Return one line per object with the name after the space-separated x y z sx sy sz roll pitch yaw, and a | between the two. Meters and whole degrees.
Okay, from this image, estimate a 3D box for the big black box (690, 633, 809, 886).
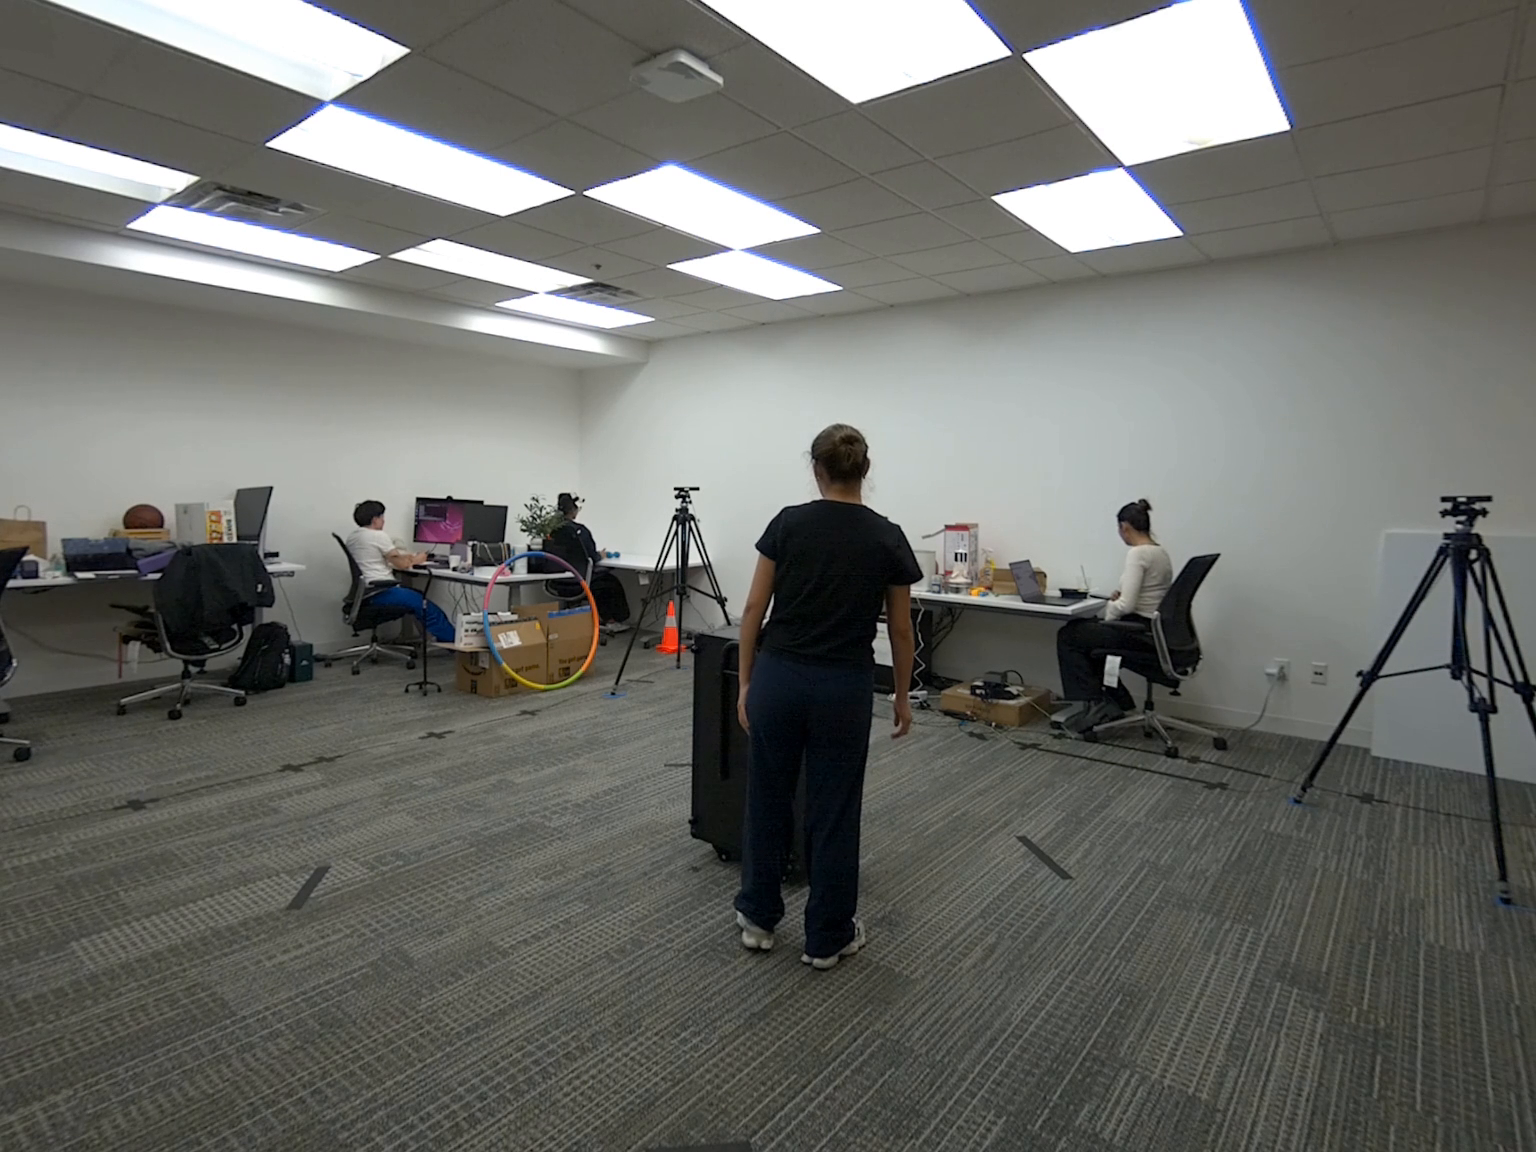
0.029 0.639 3.176 0.539 0.858 0.385 4 5 39 | big black box
